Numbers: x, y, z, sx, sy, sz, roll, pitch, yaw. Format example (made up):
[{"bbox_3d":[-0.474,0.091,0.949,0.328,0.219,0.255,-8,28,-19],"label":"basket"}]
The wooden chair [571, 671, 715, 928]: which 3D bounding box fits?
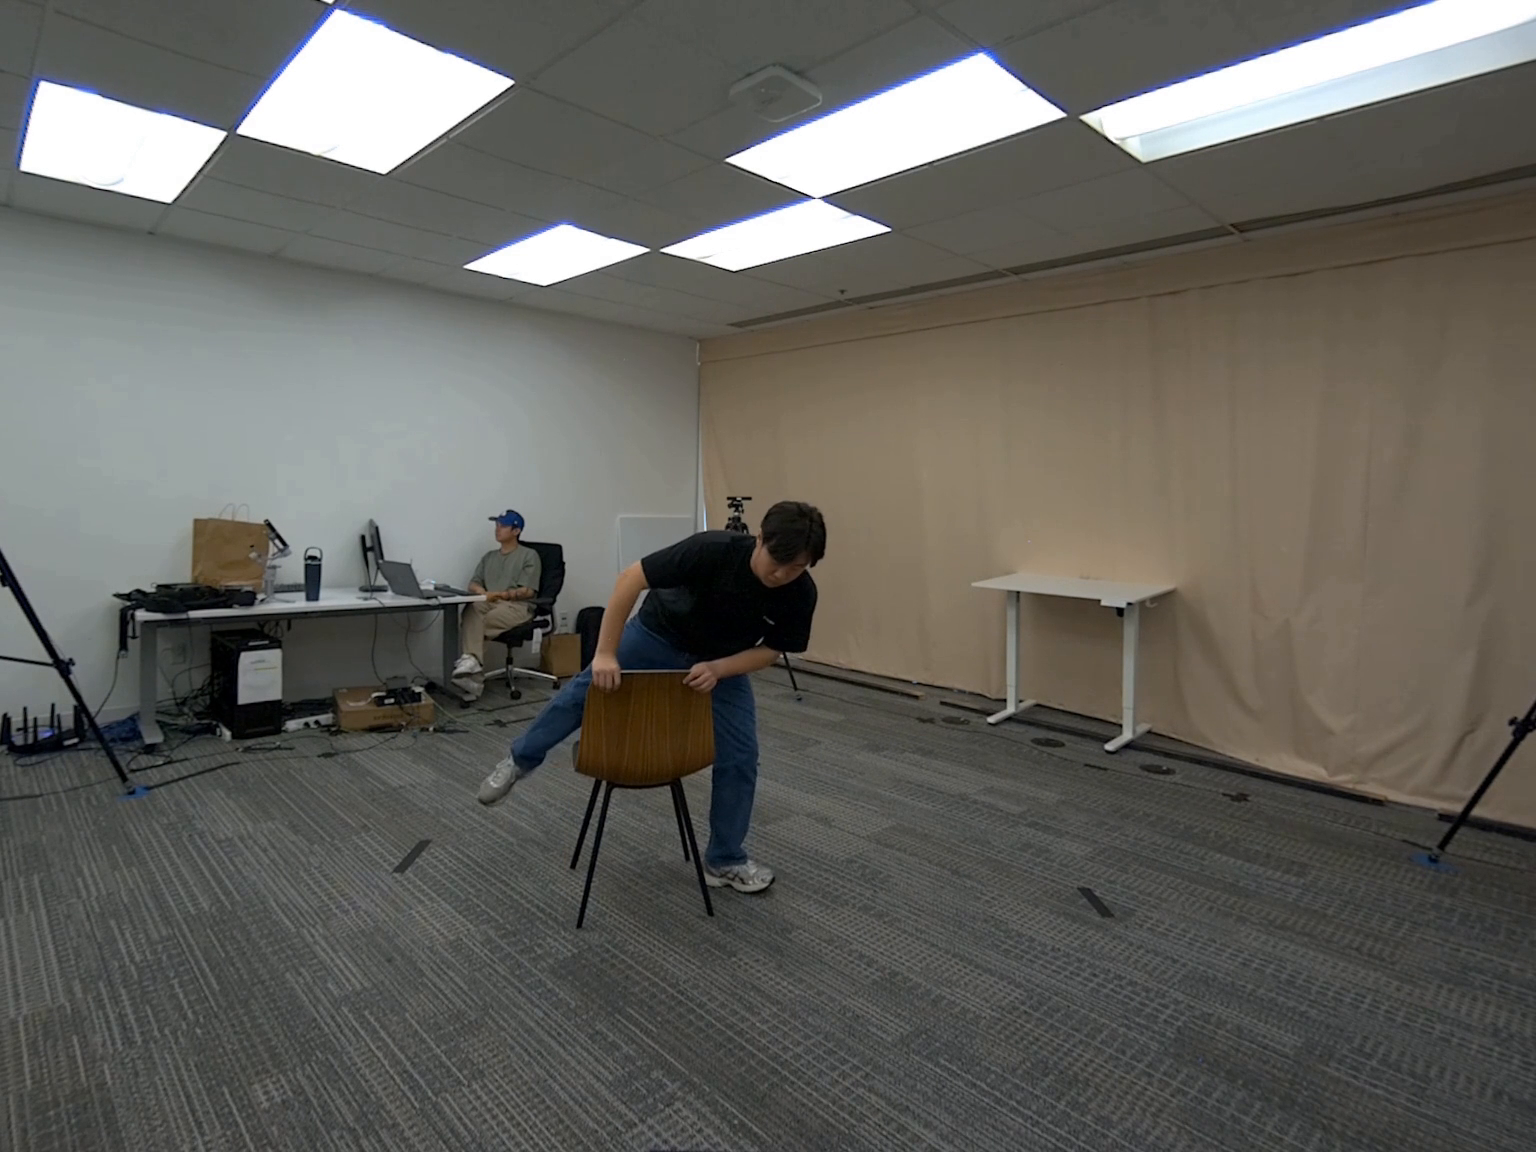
[{"bbox_3d":[-0.450,0.692,2.934,0.473,0.872,0.532,0,8,-15],"label":"wooden chair"}]
